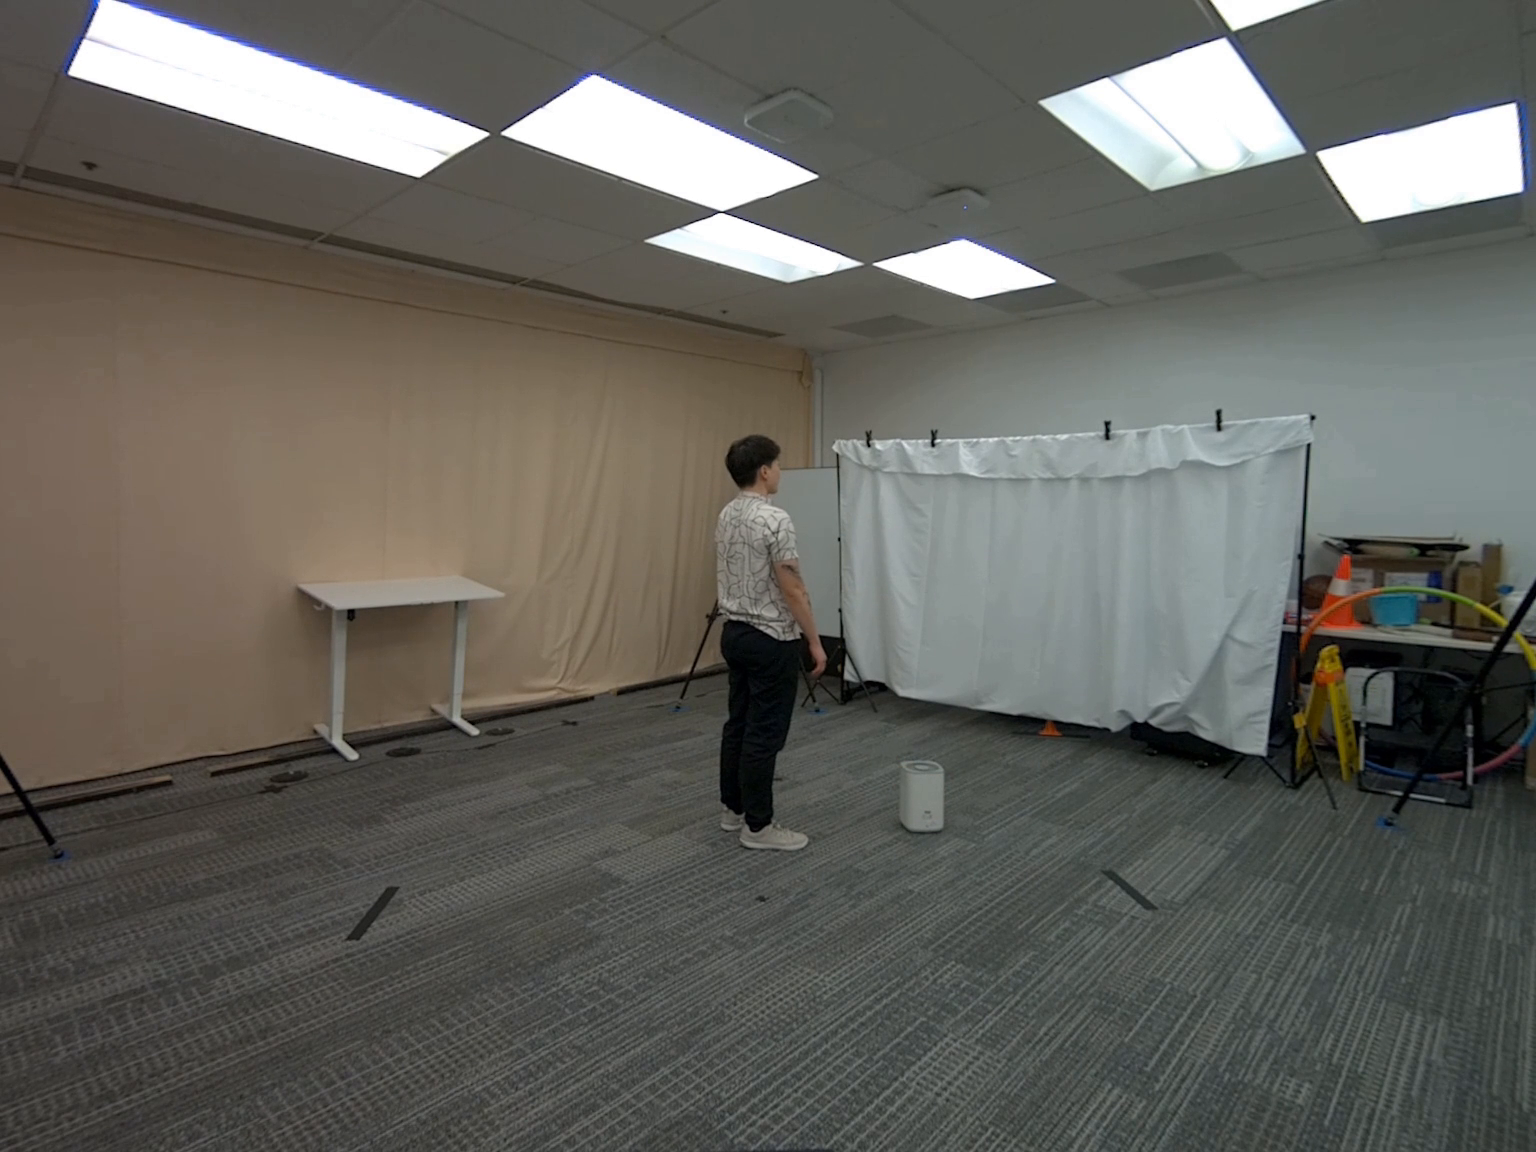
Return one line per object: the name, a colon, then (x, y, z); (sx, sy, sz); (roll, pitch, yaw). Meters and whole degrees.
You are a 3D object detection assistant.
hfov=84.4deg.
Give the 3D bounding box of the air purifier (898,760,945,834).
air purifier: (0.674, 0.955, 3.646); (0.171, 0.265, 0.172); (1, 3, -5)
